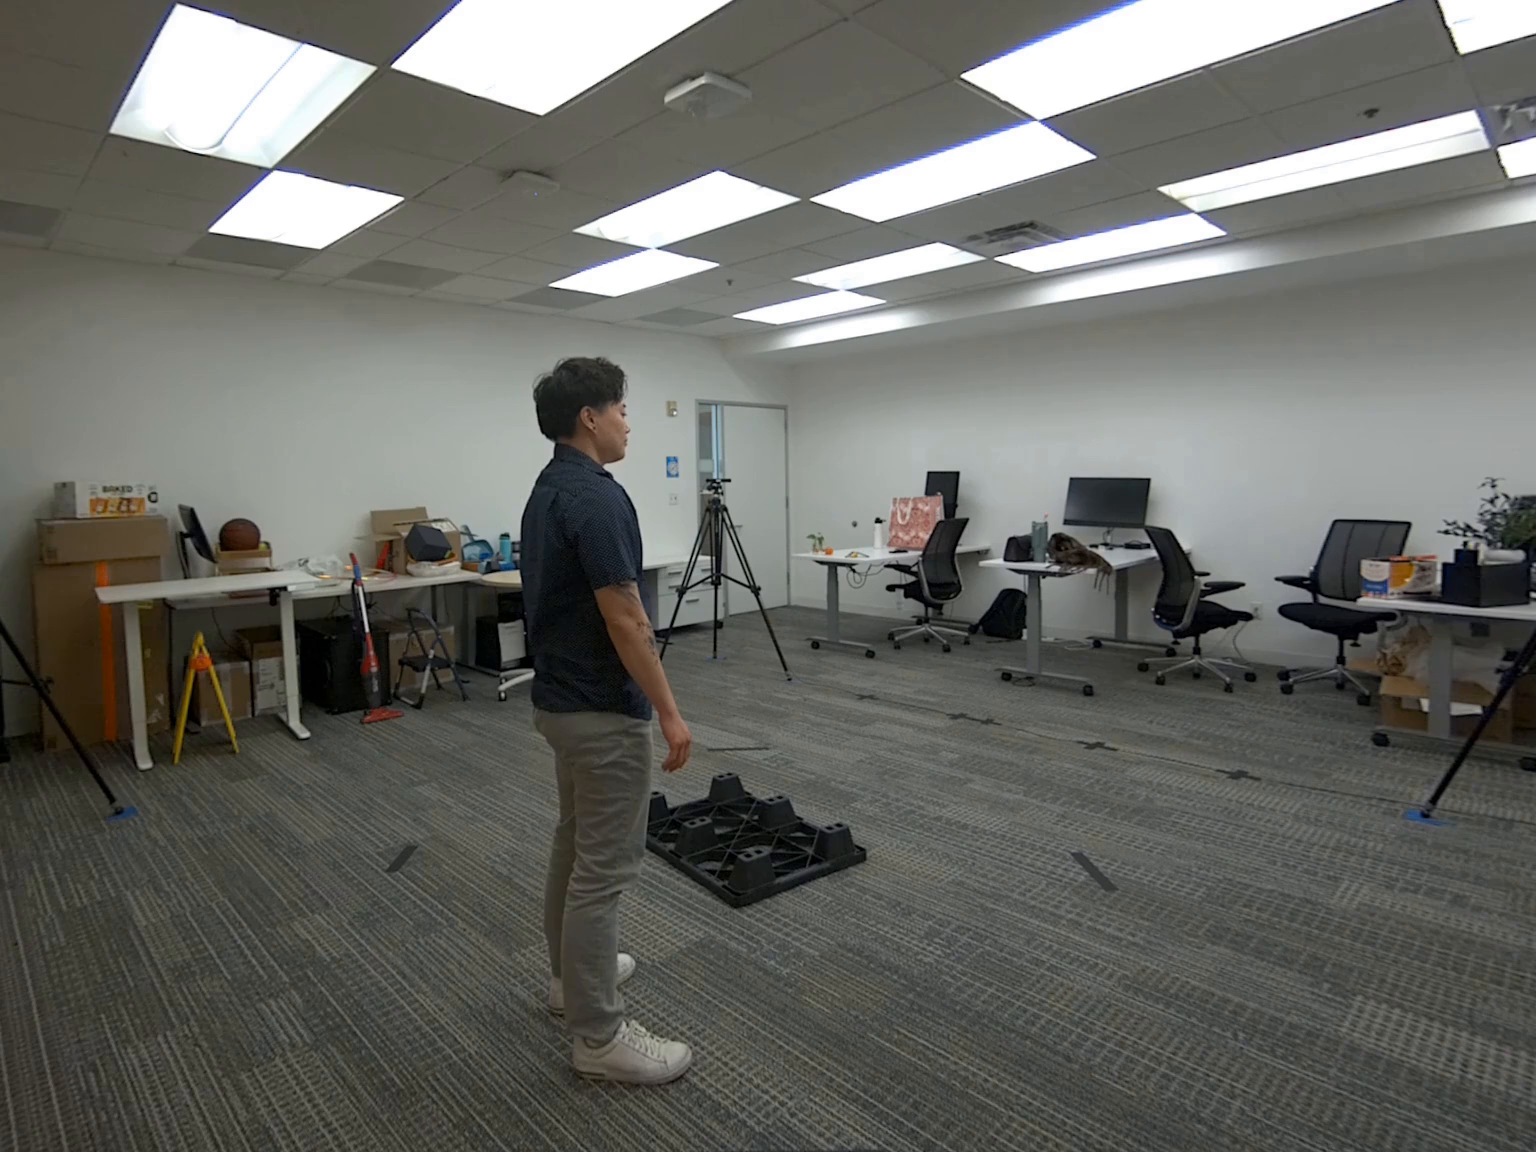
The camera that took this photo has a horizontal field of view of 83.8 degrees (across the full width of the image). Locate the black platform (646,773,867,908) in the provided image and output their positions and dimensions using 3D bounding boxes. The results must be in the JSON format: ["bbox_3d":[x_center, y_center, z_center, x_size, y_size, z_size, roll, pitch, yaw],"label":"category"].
[{"bbox_3d":[-0.107,0.961,3.265,0.590,0.142,0.830,-6,9,-37],"label":"black platform"}]
